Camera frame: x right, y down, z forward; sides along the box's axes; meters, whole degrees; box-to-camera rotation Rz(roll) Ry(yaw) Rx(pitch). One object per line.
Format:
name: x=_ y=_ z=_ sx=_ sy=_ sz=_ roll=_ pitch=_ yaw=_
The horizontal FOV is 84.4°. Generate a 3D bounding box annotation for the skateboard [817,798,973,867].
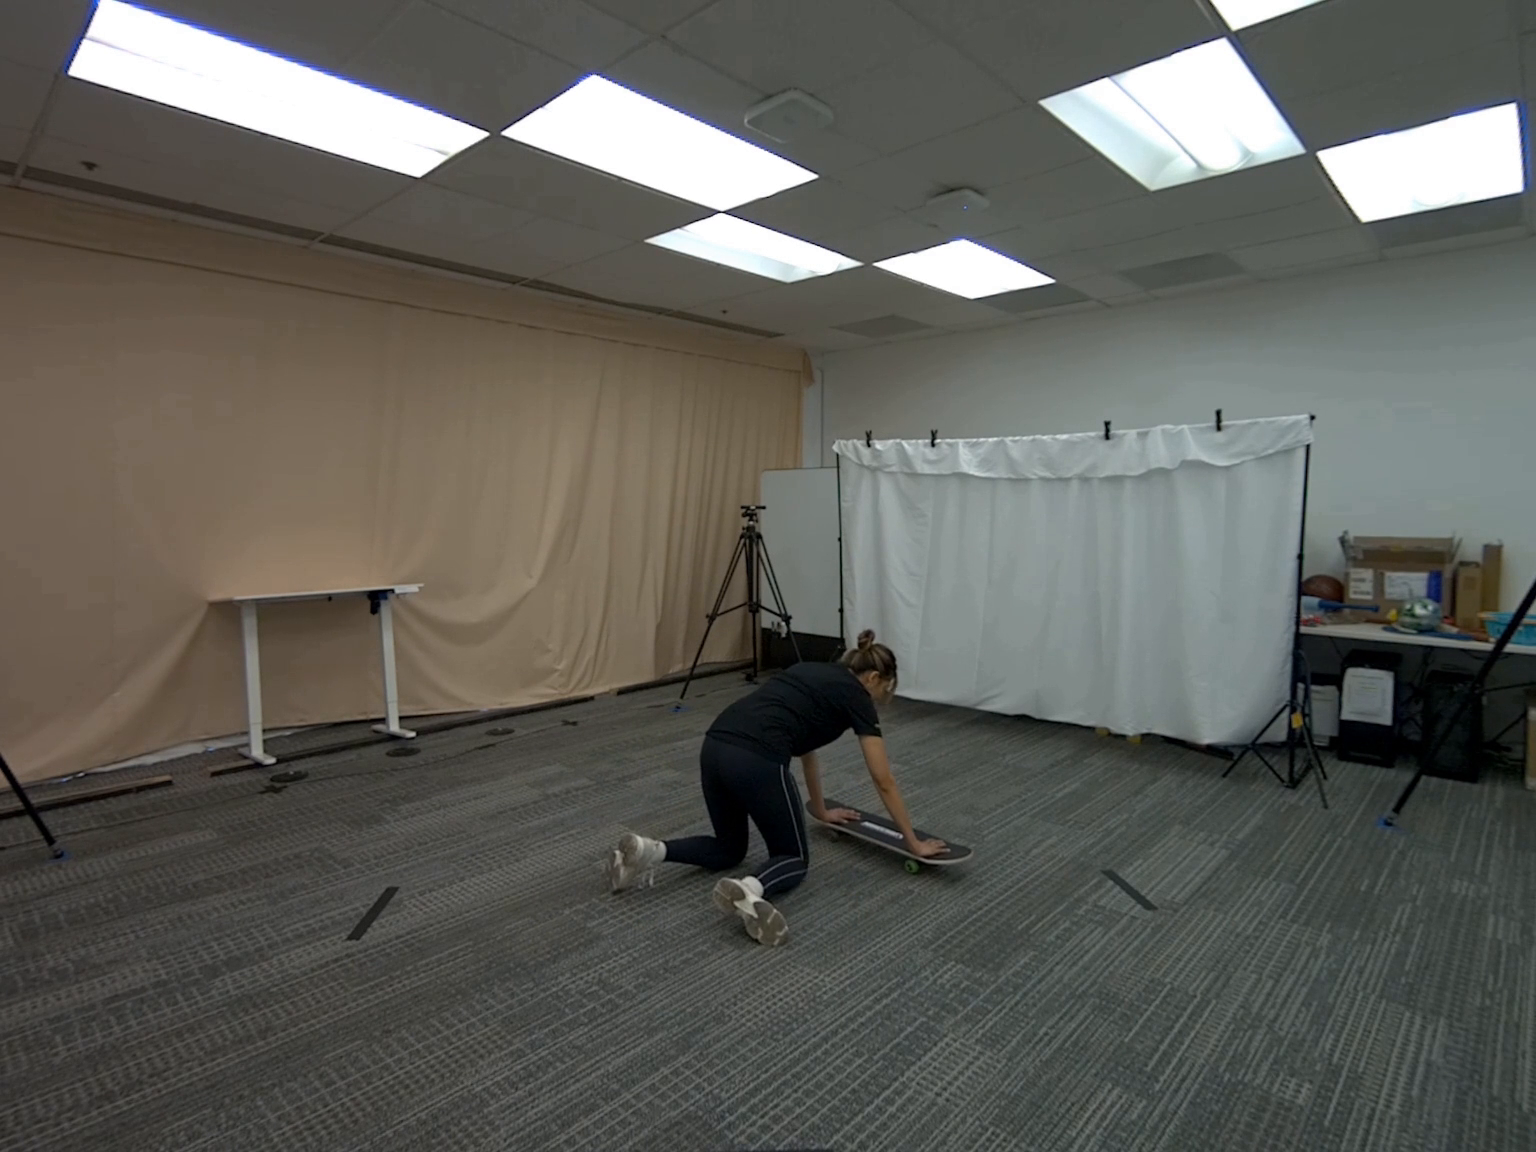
skateboard: x=0.467 y=1.052 z=3.380 sx=0.188 sy=0.110 sz=0.812 roll=-8 pitch=9 yaw=-42
